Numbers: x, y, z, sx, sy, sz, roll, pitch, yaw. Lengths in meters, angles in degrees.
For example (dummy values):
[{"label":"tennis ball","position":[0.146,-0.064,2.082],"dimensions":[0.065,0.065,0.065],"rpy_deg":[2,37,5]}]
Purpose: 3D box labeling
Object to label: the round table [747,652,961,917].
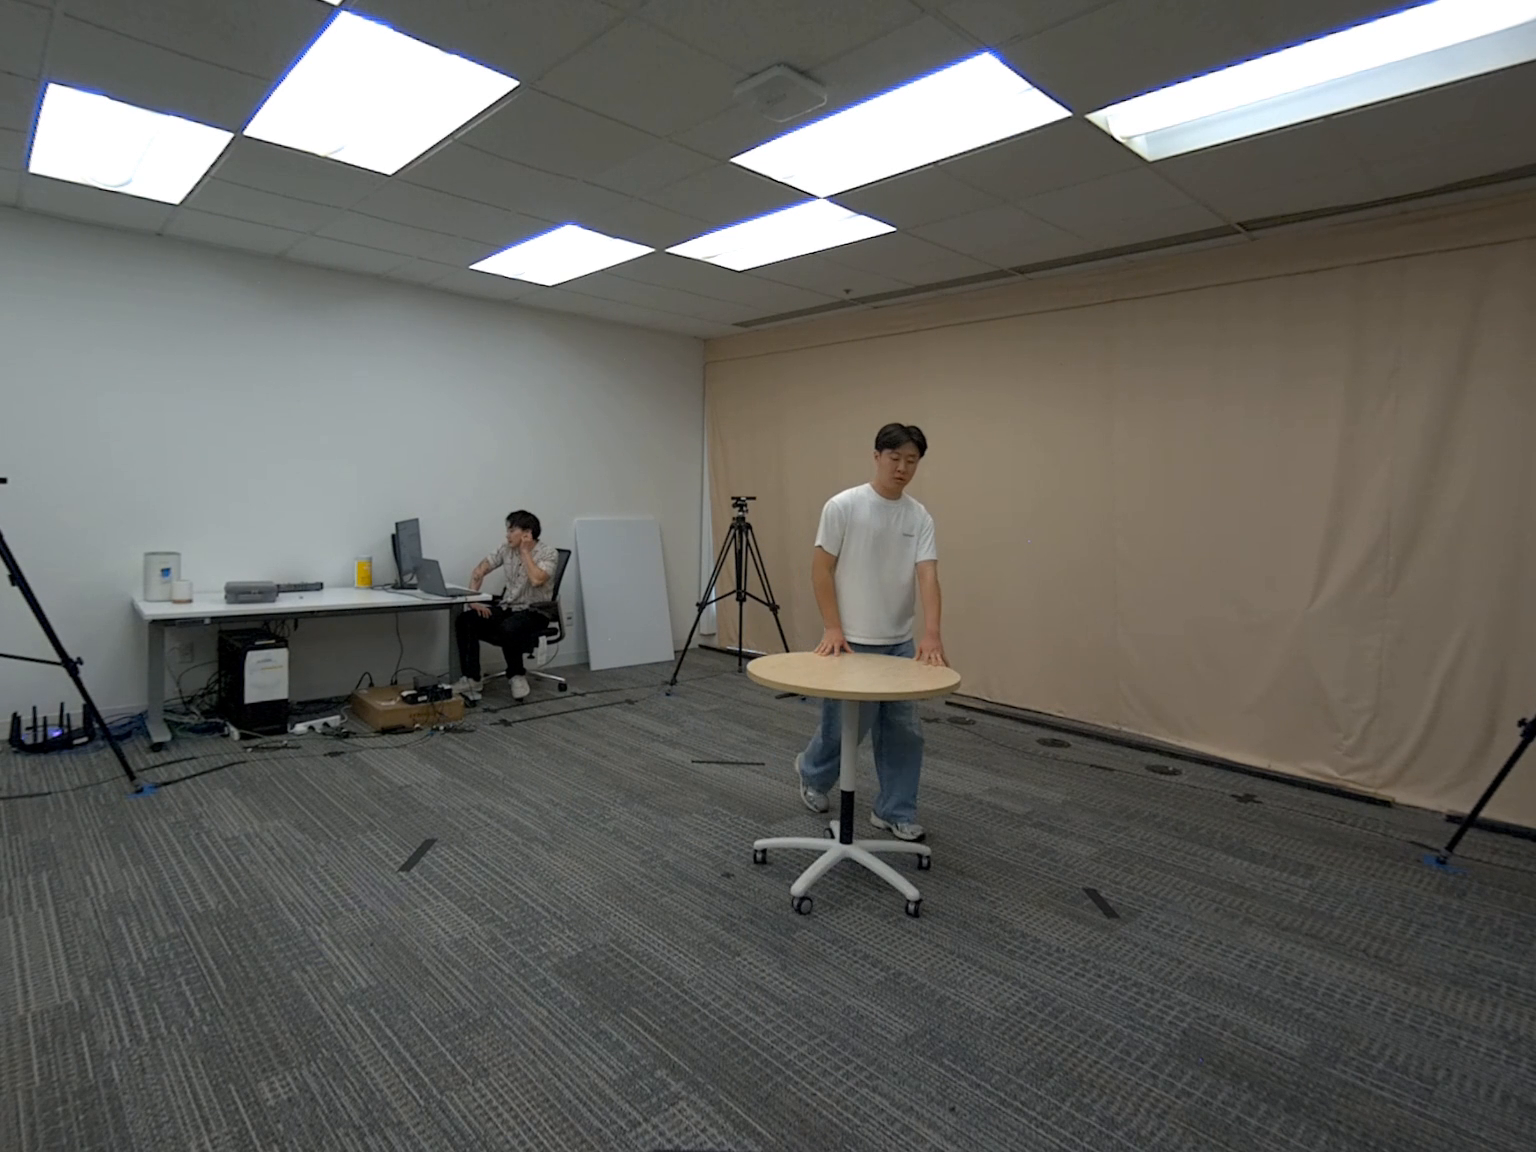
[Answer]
[{"label":"round table","position":[0.280,0.733,3.078],"dimensions":[0.763,0.792,0.766],"rpy_deg":[2,4,-1]}]
